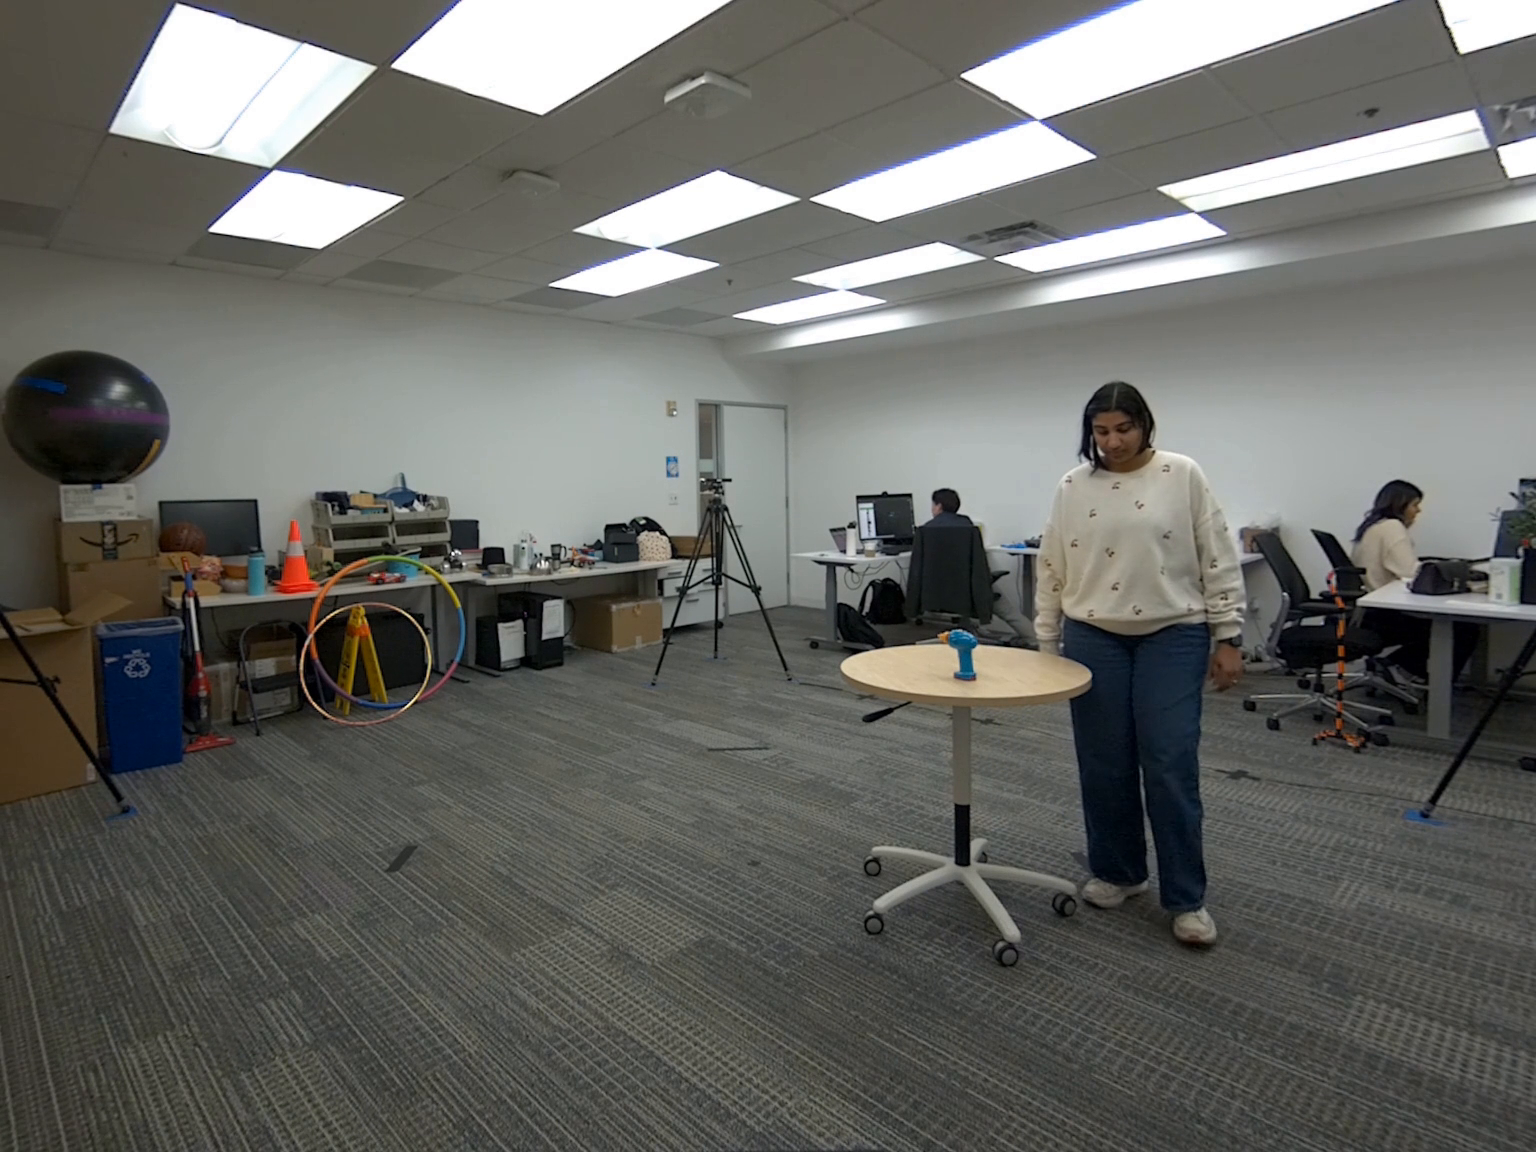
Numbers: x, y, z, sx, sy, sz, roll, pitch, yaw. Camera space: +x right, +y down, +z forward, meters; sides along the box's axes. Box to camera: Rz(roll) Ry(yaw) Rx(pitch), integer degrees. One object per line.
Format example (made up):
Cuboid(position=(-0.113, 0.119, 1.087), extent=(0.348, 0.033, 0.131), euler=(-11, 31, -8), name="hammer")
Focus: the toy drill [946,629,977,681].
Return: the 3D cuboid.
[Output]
Cuboid(position=(0.589, 0.235, 2.598), extent=(0.060, 0.145, 0.174), euler=(-4, 5, -24), name="toy drill")
